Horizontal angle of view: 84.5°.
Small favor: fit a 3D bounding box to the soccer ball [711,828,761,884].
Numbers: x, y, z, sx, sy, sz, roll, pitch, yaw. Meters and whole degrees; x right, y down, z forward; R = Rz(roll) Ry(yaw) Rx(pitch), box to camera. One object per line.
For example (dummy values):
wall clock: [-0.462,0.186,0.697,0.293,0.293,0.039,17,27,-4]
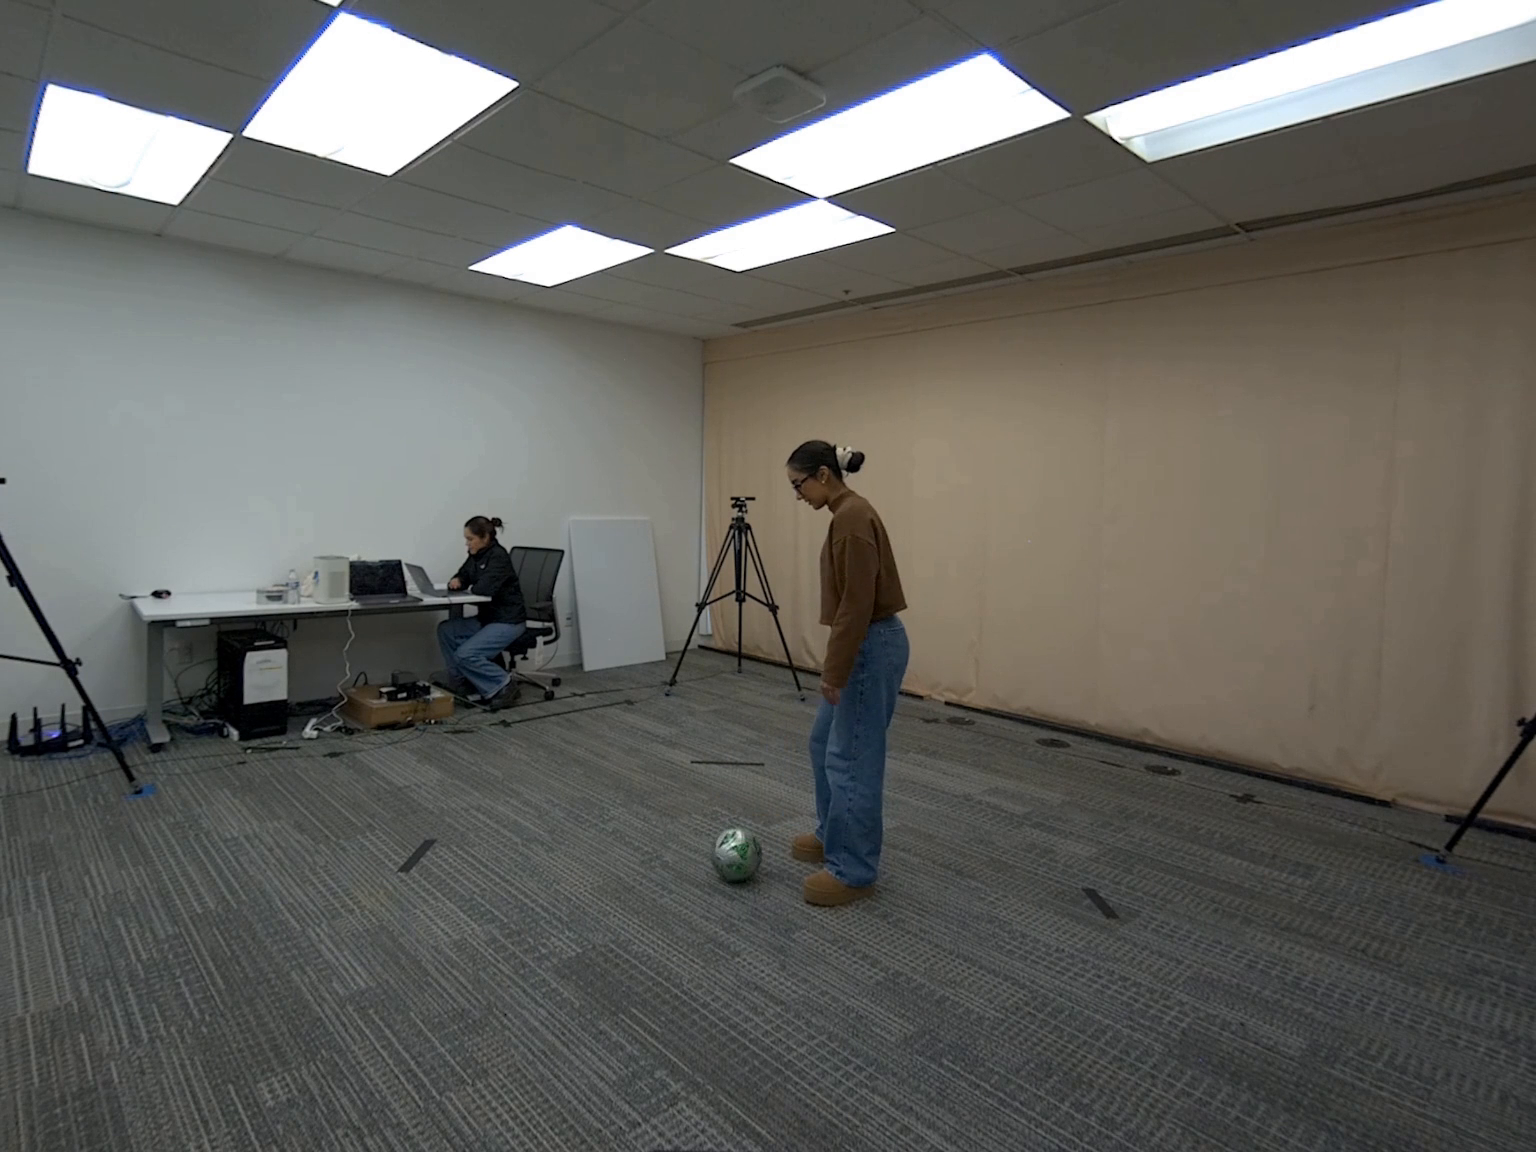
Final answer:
soccer ball: [-0.122,1.011,3.075,0.187,0.187,0.188,1,4,-1]
